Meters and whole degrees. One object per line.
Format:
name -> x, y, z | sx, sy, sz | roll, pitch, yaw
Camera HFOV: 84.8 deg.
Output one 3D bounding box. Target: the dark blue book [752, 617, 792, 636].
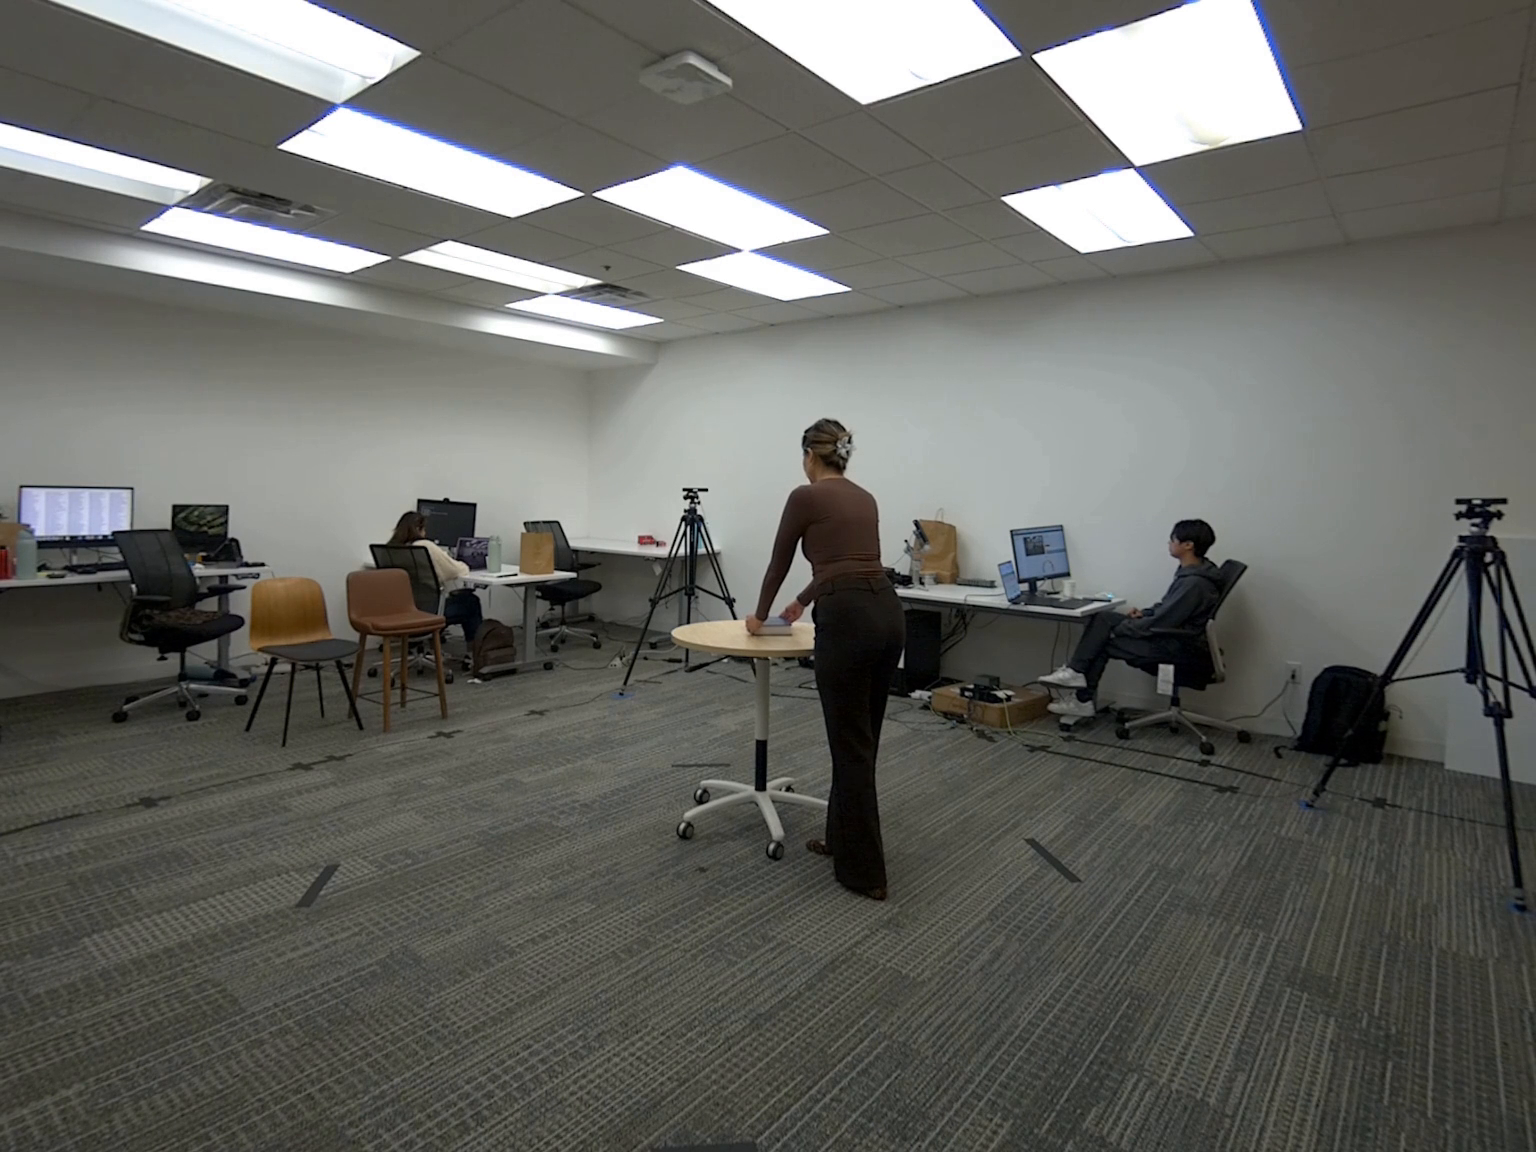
dark blue book -> -0.018, 0.214, 3.609 | 0.162, 0.045, 0.248 | -1, 5, -7
